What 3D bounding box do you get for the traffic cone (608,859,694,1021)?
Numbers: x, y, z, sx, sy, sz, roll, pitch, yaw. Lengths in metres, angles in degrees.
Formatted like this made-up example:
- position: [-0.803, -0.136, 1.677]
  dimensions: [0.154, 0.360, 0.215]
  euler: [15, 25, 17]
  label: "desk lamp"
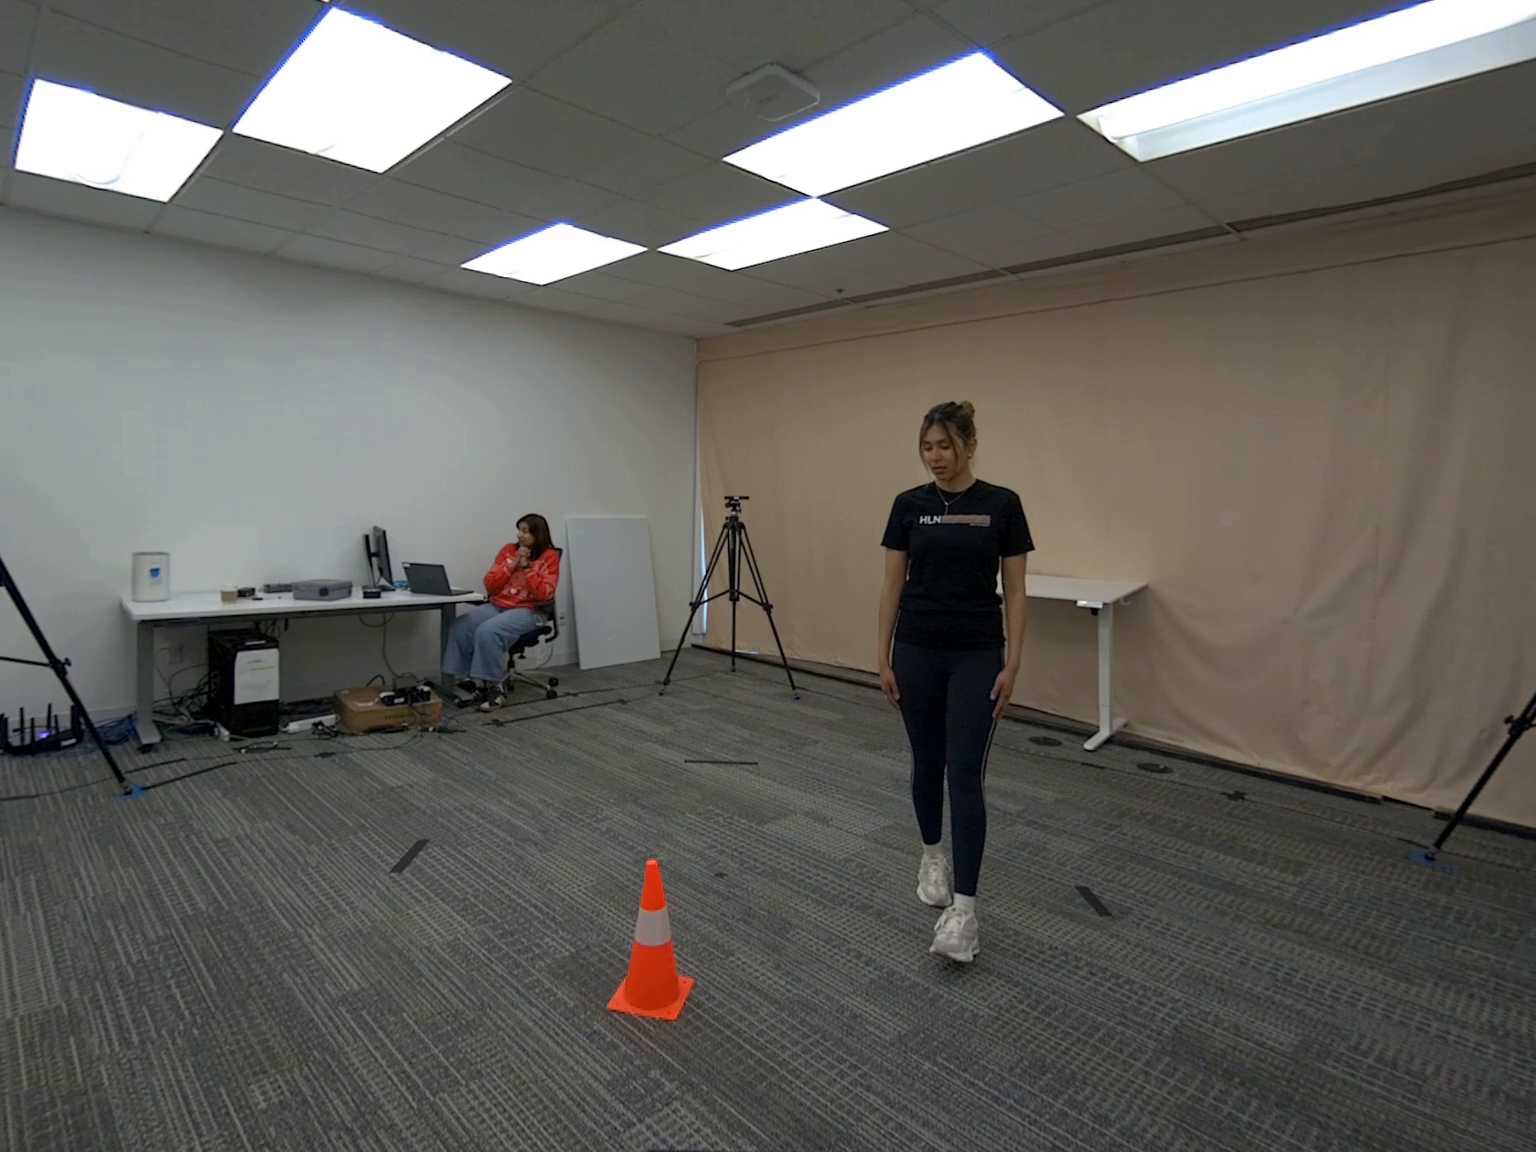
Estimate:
- position: [-0.327, 0.987, 2.334]
  dimensions: [0.206, 0.382, 0.203]
  euler: [2, 4, 15]
  label: "traffic cone"
